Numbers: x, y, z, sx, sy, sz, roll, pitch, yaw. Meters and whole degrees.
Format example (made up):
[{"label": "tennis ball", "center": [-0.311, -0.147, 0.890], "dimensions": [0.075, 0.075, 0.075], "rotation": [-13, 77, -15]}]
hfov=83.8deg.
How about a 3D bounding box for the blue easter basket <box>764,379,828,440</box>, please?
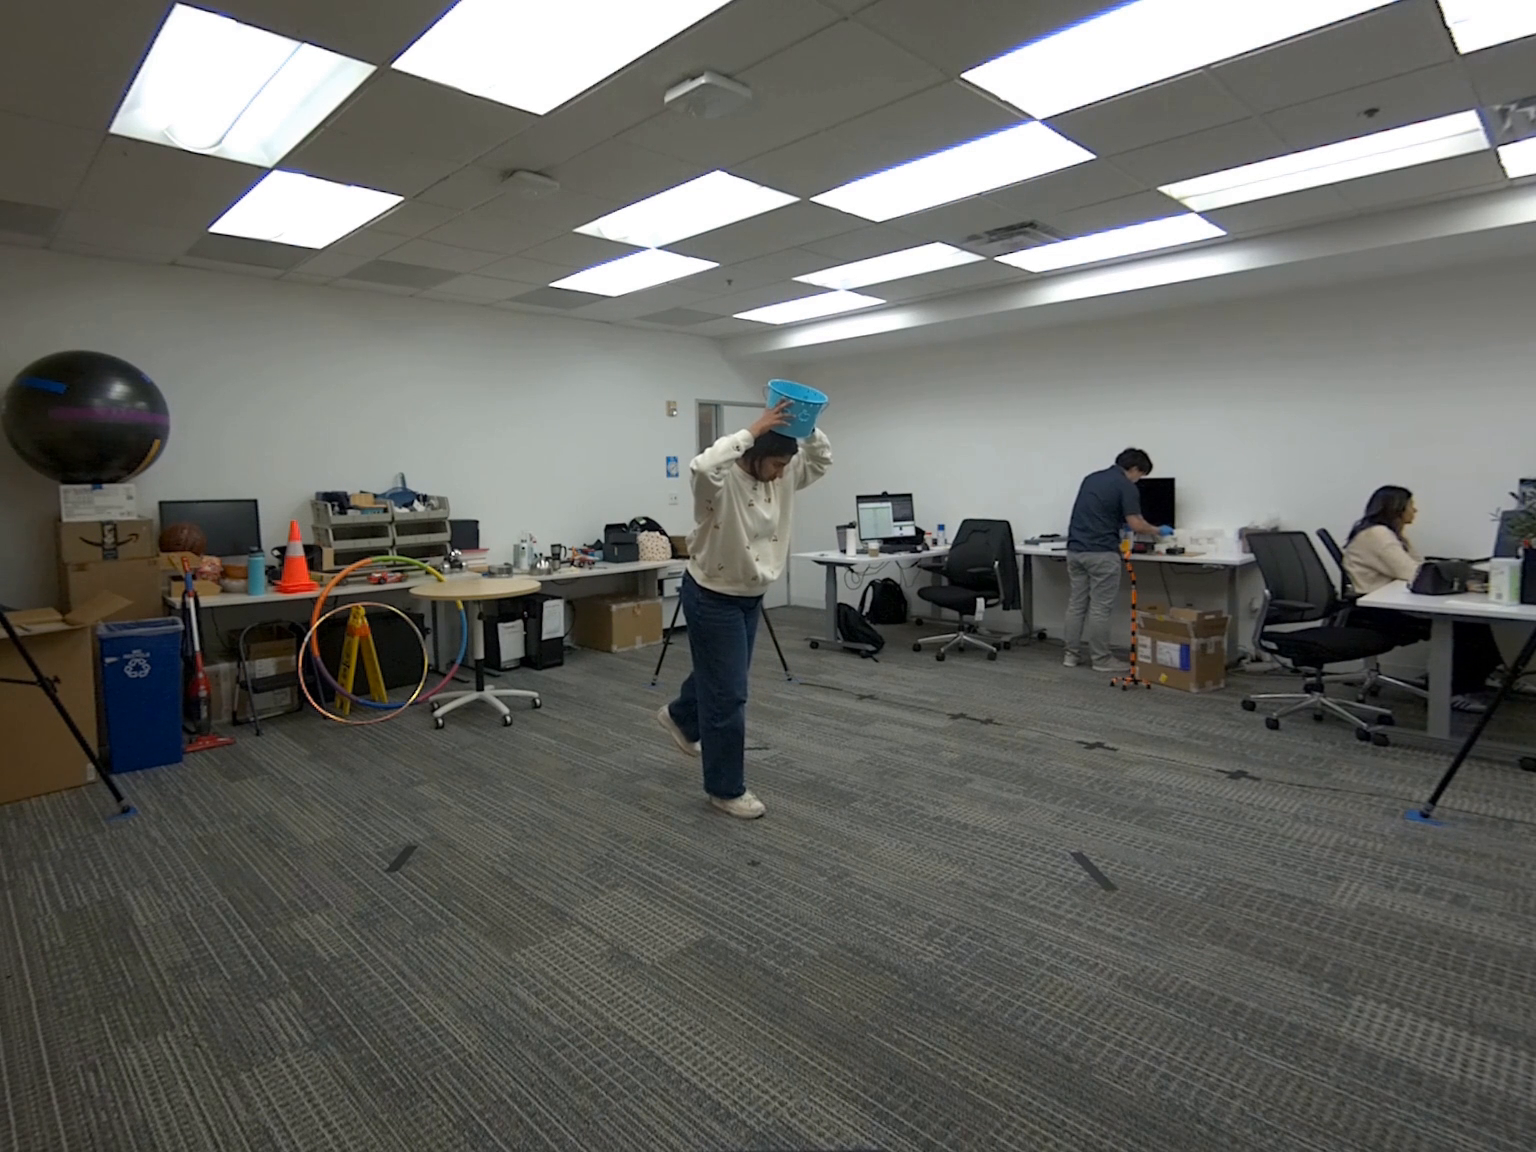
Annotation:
[{"label": "blue easter basket", "center": [0.104, -0.626, 3.200], "dimensions": [0.242, 0.153, 0.249], "rotation": [11, 26, -7]}]
